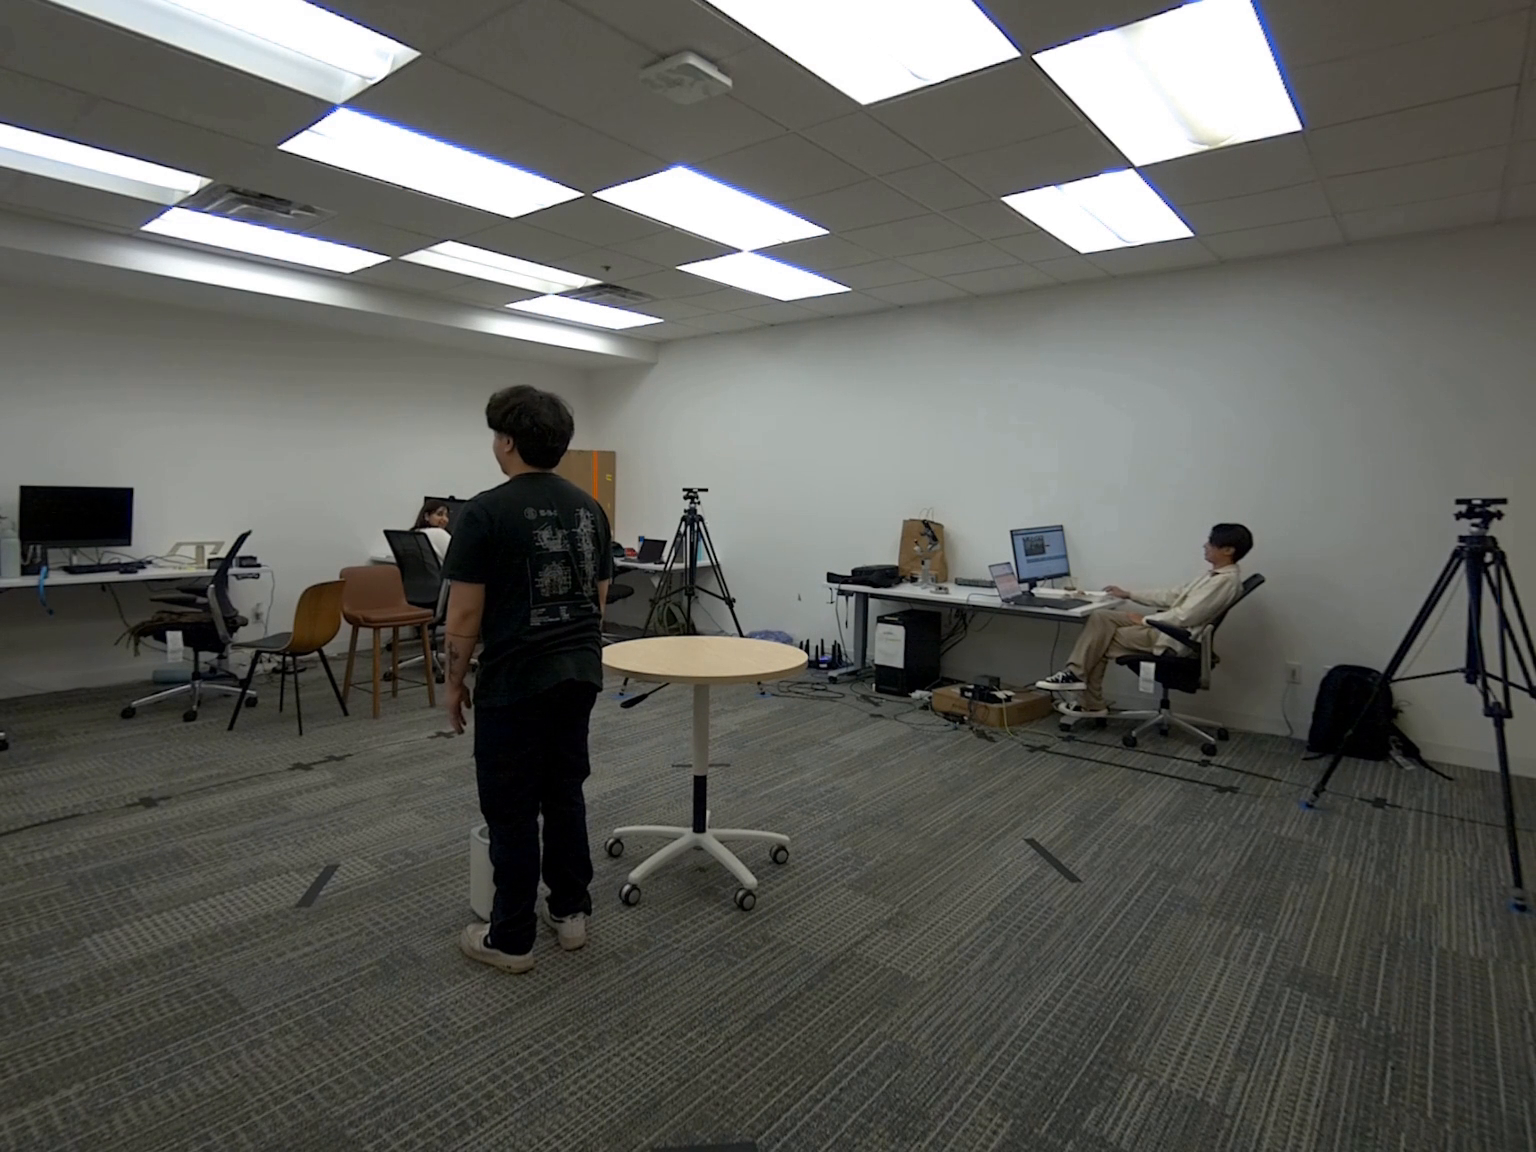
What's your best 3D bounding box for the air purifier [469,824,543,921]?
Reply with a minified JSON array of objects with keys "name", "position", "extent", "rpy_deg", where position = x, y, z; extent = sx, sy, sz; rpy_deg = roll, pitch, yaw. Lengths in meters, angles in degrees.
[{"name":"air purifier","position":[-0.884,0.959,2.776],"extent":[0.166,0.265,0.177],"rpy_deg":[-1,3,-42]}]
